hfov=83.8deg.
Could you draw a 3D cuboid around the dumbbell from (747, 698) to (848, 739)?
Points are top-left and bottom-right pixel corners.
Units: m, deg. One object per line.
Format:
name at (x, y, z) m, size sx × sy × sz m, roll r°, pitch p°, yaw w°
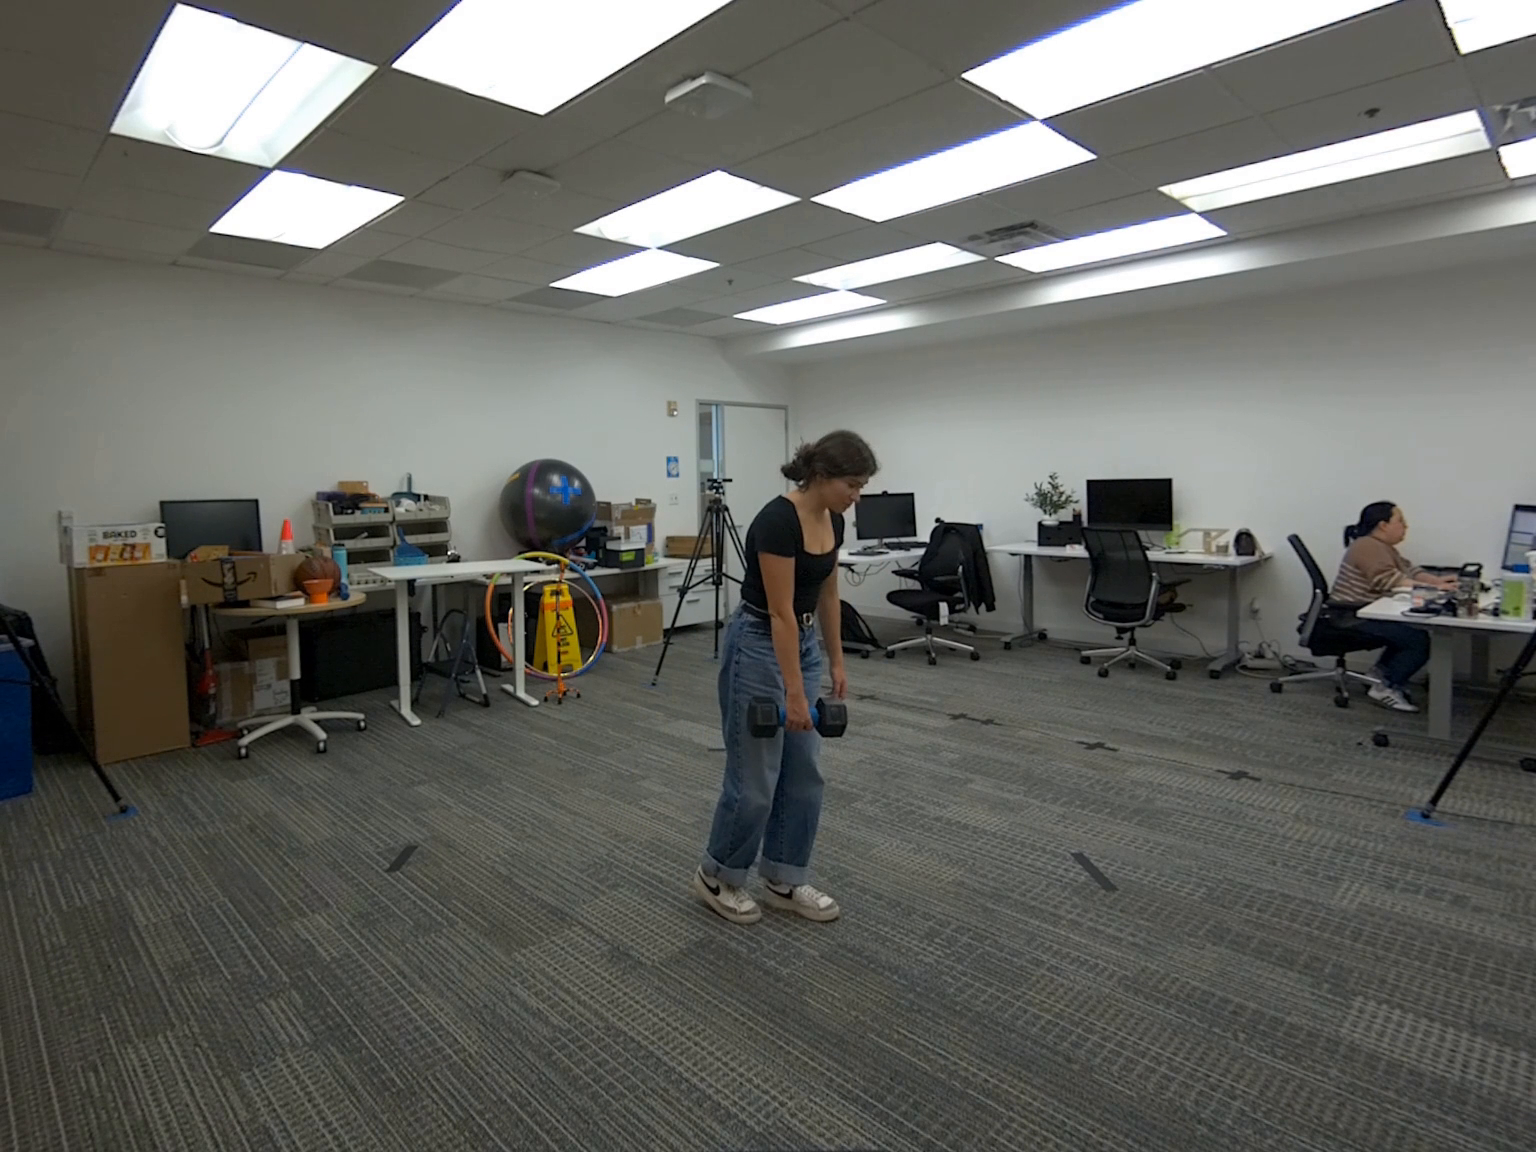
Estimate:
dumbbell at (0.097, 0.434, 2.591) m, size 0.290 × 0.120 × 0.112 m, roll 1°, pitch 40°, yaw -13°
